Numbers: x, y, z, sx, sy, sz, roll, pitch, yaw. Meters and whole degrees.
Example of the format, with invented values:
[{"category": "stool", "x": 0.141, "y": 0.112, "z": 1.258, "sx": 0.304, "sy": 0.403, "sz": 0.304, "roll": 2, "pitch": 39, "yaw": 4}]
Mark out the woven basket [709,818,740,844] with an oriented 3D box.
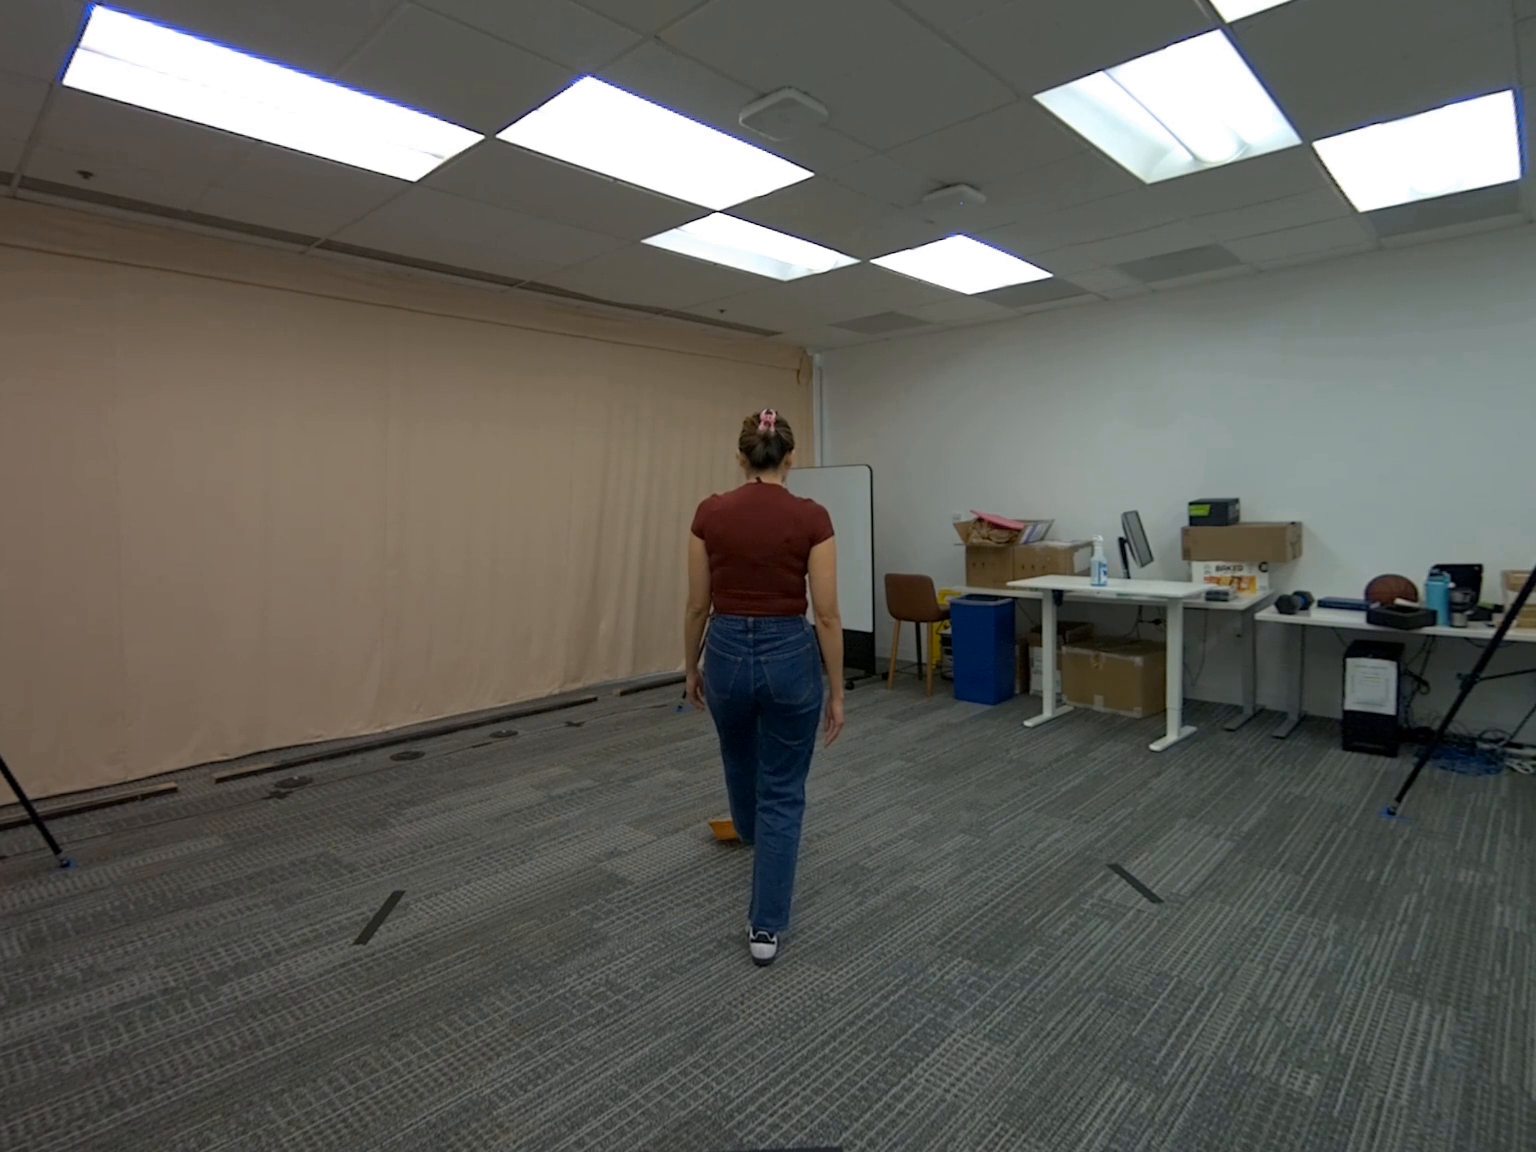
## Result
[{"category": "woven basket", "x": -0.082, "y": 1.038, "z": 3.491, "sx": 0.348, "sy": 0.074, "sz": 0.252, "roll": -3, "pitch": -14, "yaw": -8}]
